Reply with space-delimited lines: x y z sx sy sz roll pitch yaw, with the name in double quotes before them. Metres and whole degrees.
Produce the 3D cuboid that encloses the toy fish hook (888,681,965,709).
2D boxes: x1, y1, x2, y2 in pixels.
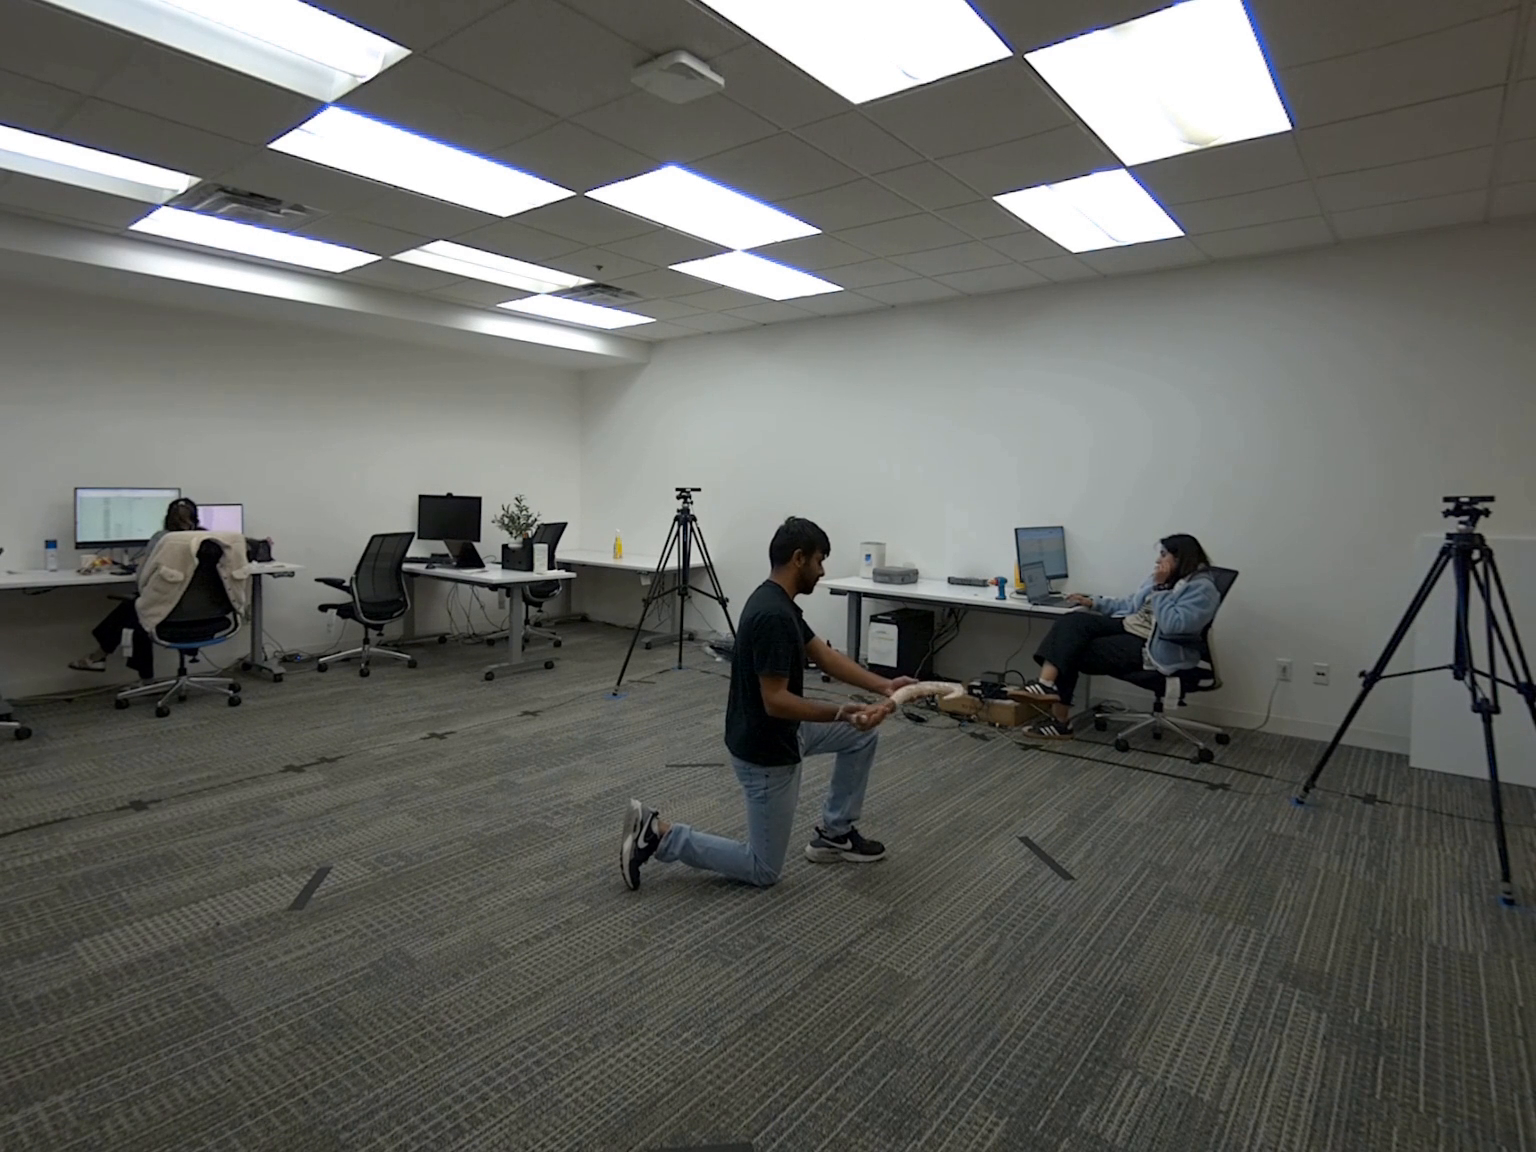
"toy fish hook" 0.435 0.383 2.692 0.230 0.048 0.493 -10 0 39
